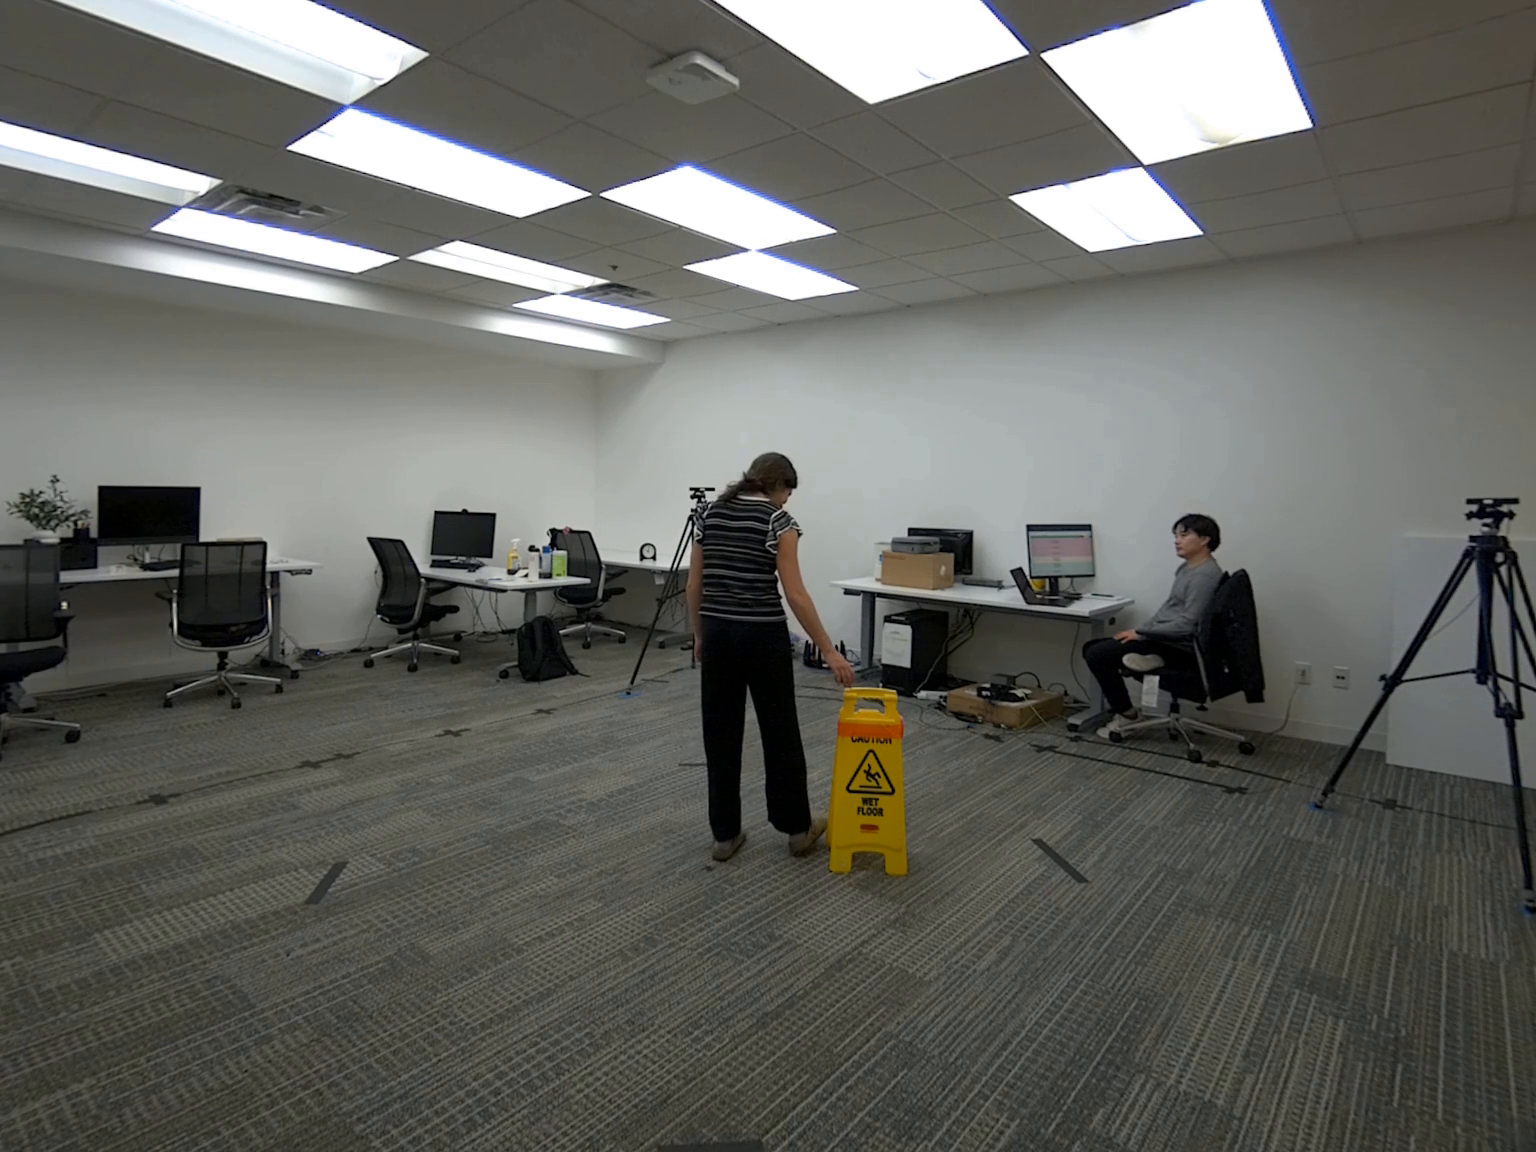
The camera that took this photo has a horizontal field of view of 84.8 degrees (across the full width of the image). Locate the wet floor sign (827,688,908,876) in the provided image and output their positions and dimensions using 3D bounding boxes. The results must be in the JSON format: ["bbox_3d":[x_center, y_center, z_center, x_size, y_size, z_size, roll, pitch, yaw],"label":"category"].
[{"bbox_3d":[0.368,0.747,3.198,0.282,0.643,0.291,0,4,0],"label":"wet floor sign"}]
